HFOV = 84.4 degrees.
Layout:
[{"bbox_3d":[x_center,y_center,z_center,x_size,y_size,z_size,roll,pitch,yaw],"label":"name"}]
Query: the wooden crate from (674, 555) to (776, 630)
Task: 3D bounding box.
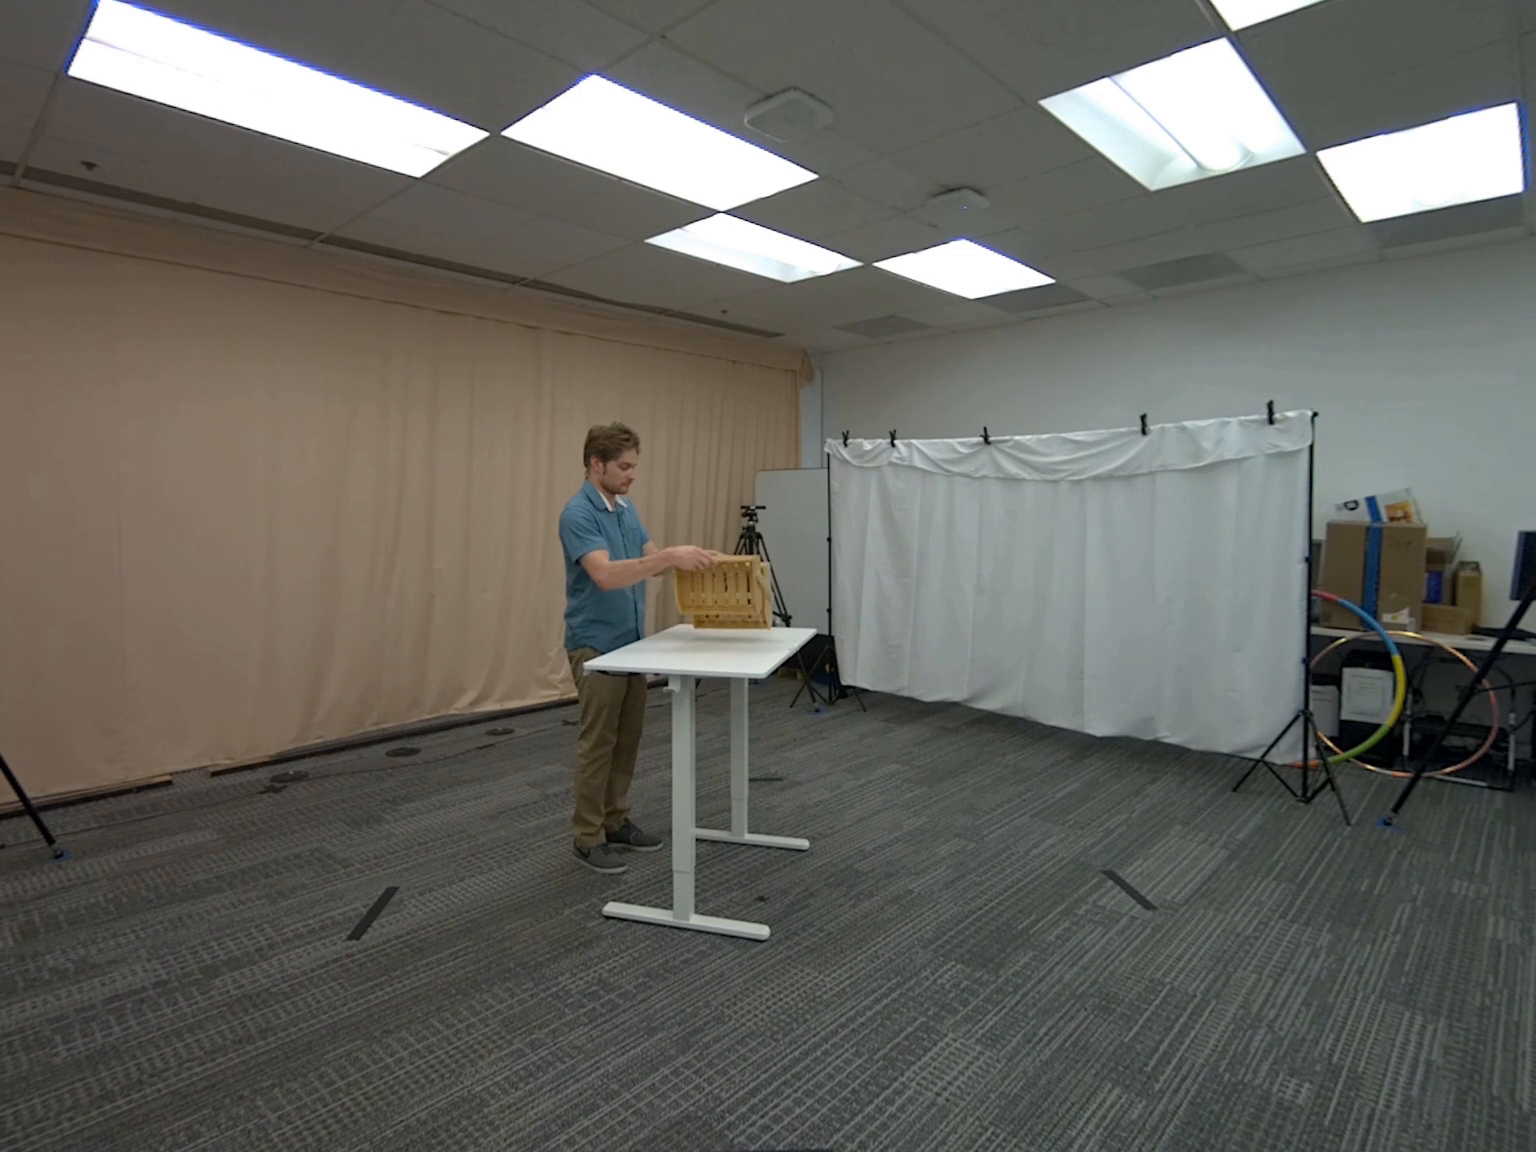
[{"bbox_3d":[-0.159,0.076,3.113,0.328,0.301,0.271,-2,6,9],"label":"wooden crate"}]
